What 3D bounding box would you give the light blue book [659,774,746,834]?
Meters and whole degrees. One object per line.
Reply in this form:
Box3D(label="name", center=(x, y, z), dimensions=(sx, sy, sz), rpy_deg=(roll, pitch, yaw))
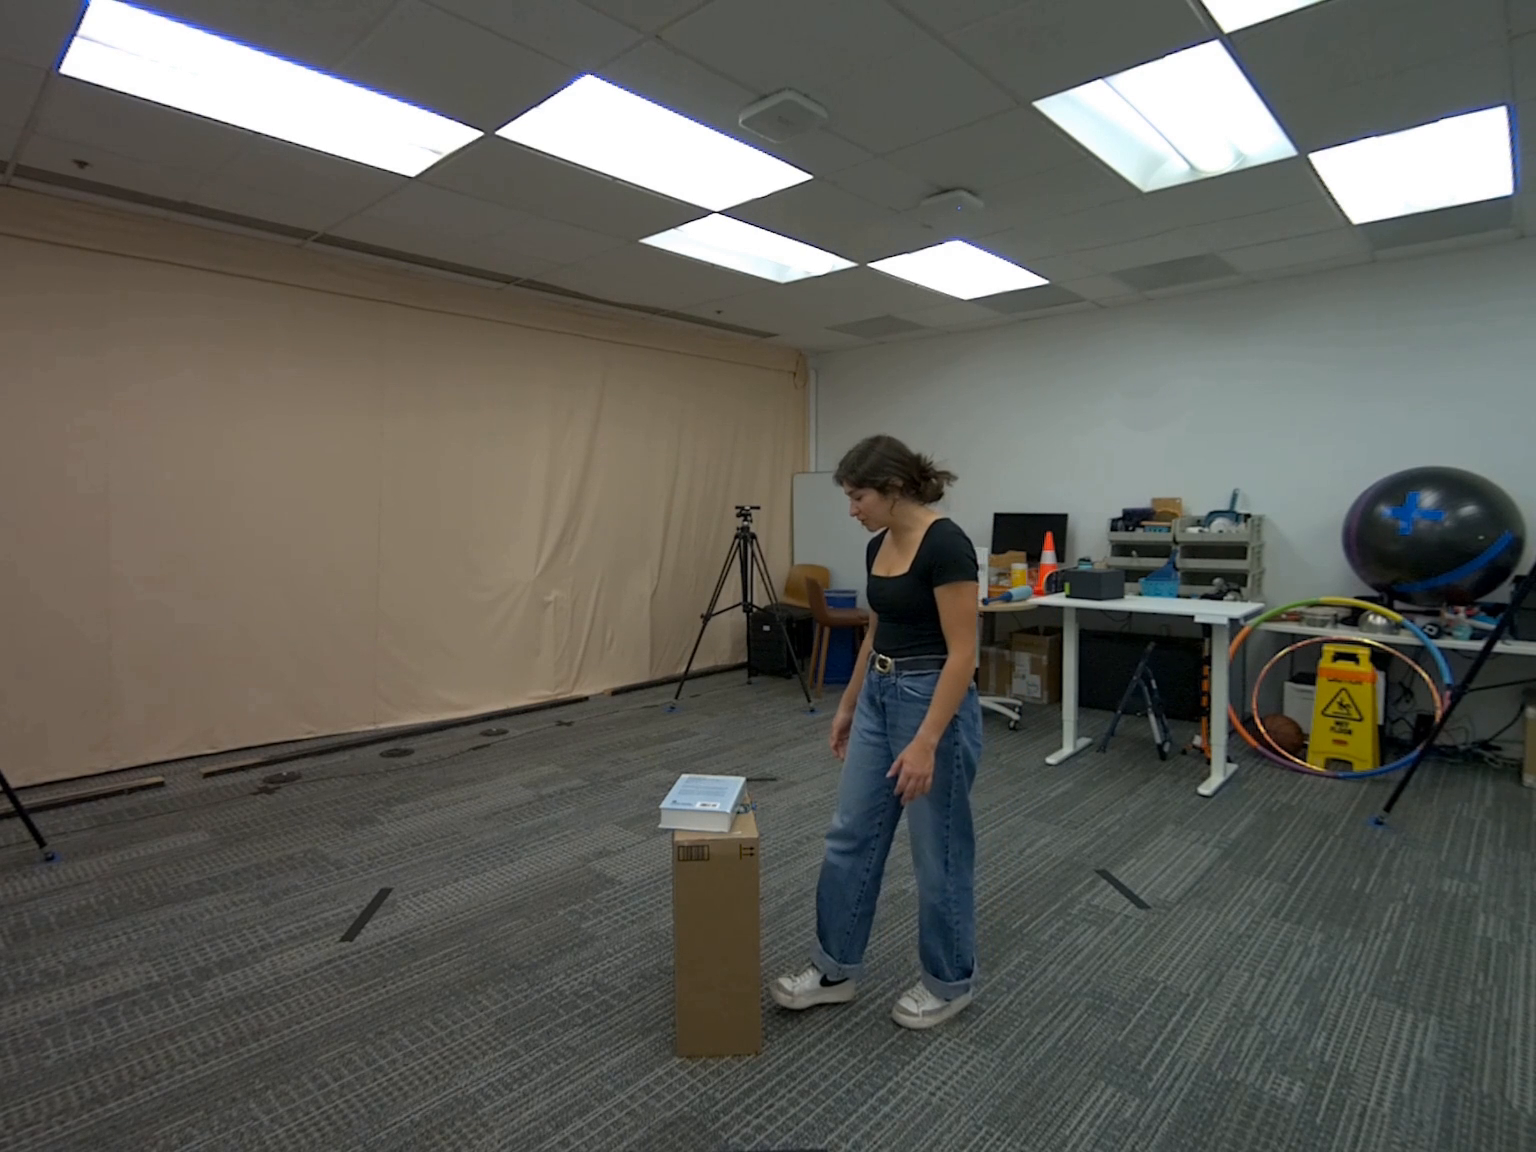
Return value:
Box3D(label="light blue book", center=(-0.159, 0.621, 2.274), dimensions=(0.193, 0.059, 0.259), rpy_deg=(0, 5, 9))
